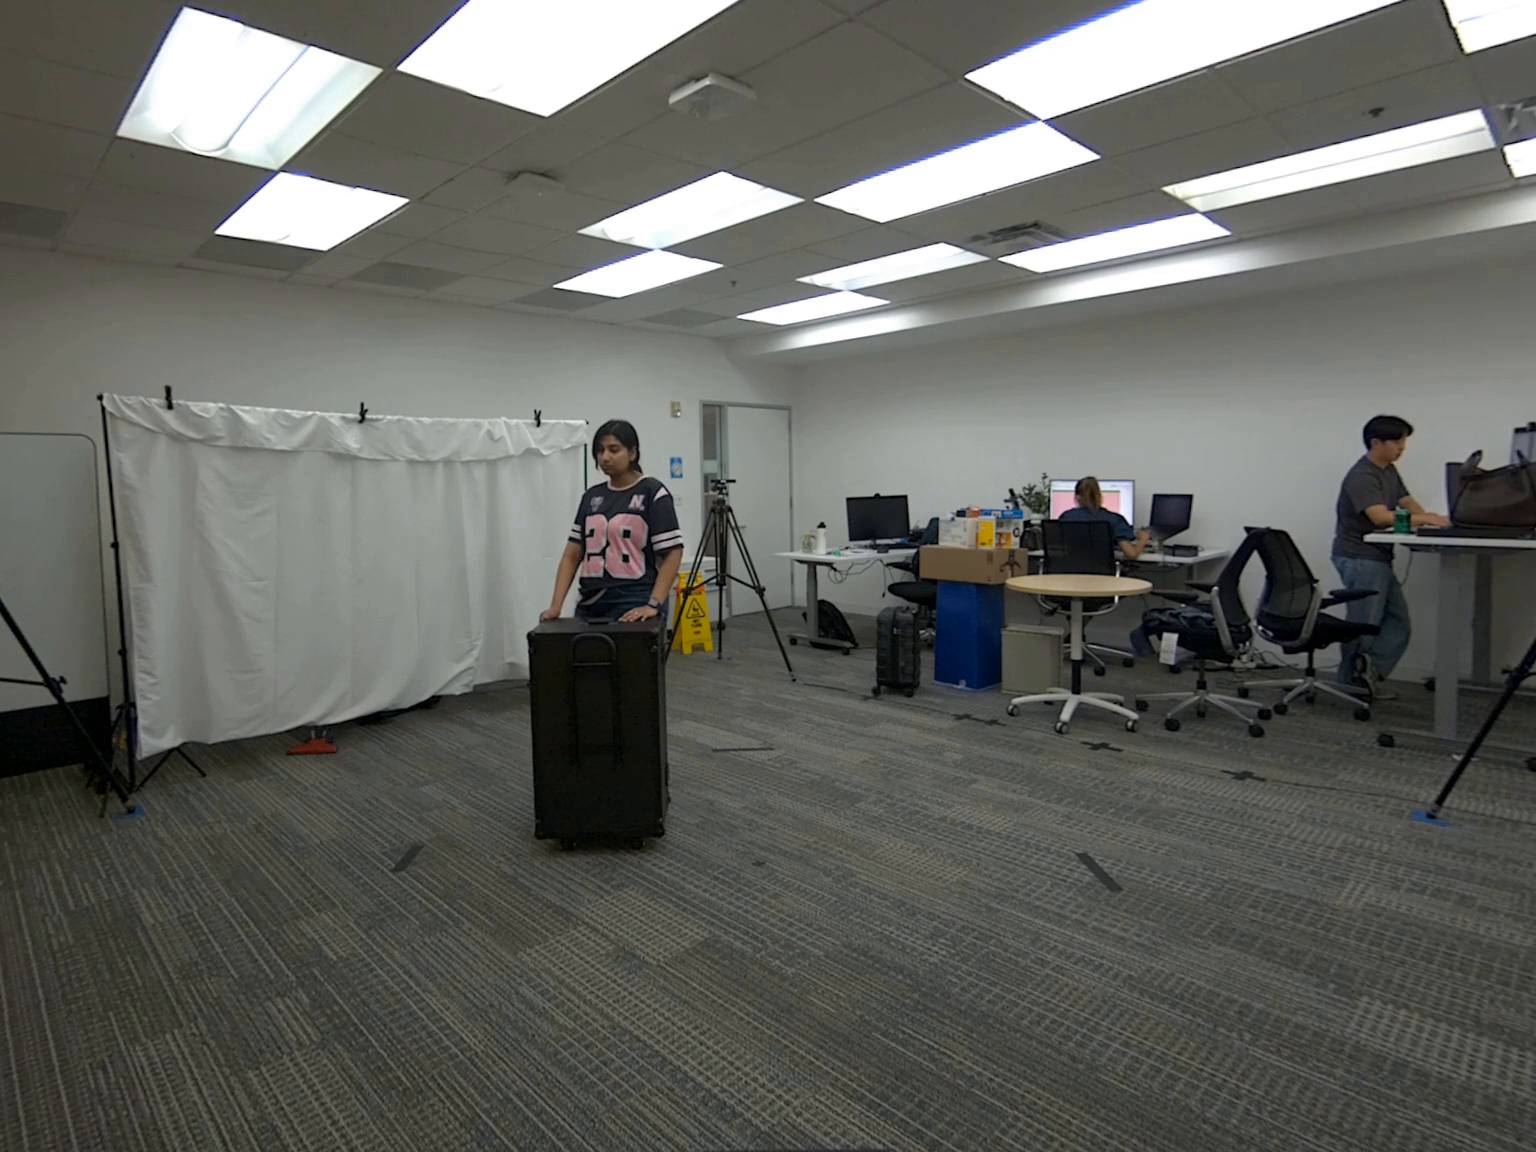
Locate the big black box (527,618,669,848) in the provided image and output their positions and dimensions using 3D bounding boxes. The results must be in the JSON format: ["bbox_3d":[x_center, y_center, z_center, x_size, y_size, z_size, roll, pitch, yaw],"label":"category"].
[{"bbox_3d":[-0.643,0.606,3.344,0.523,0.865,0.387,-1,4,-1],"label":"big black box"}]
